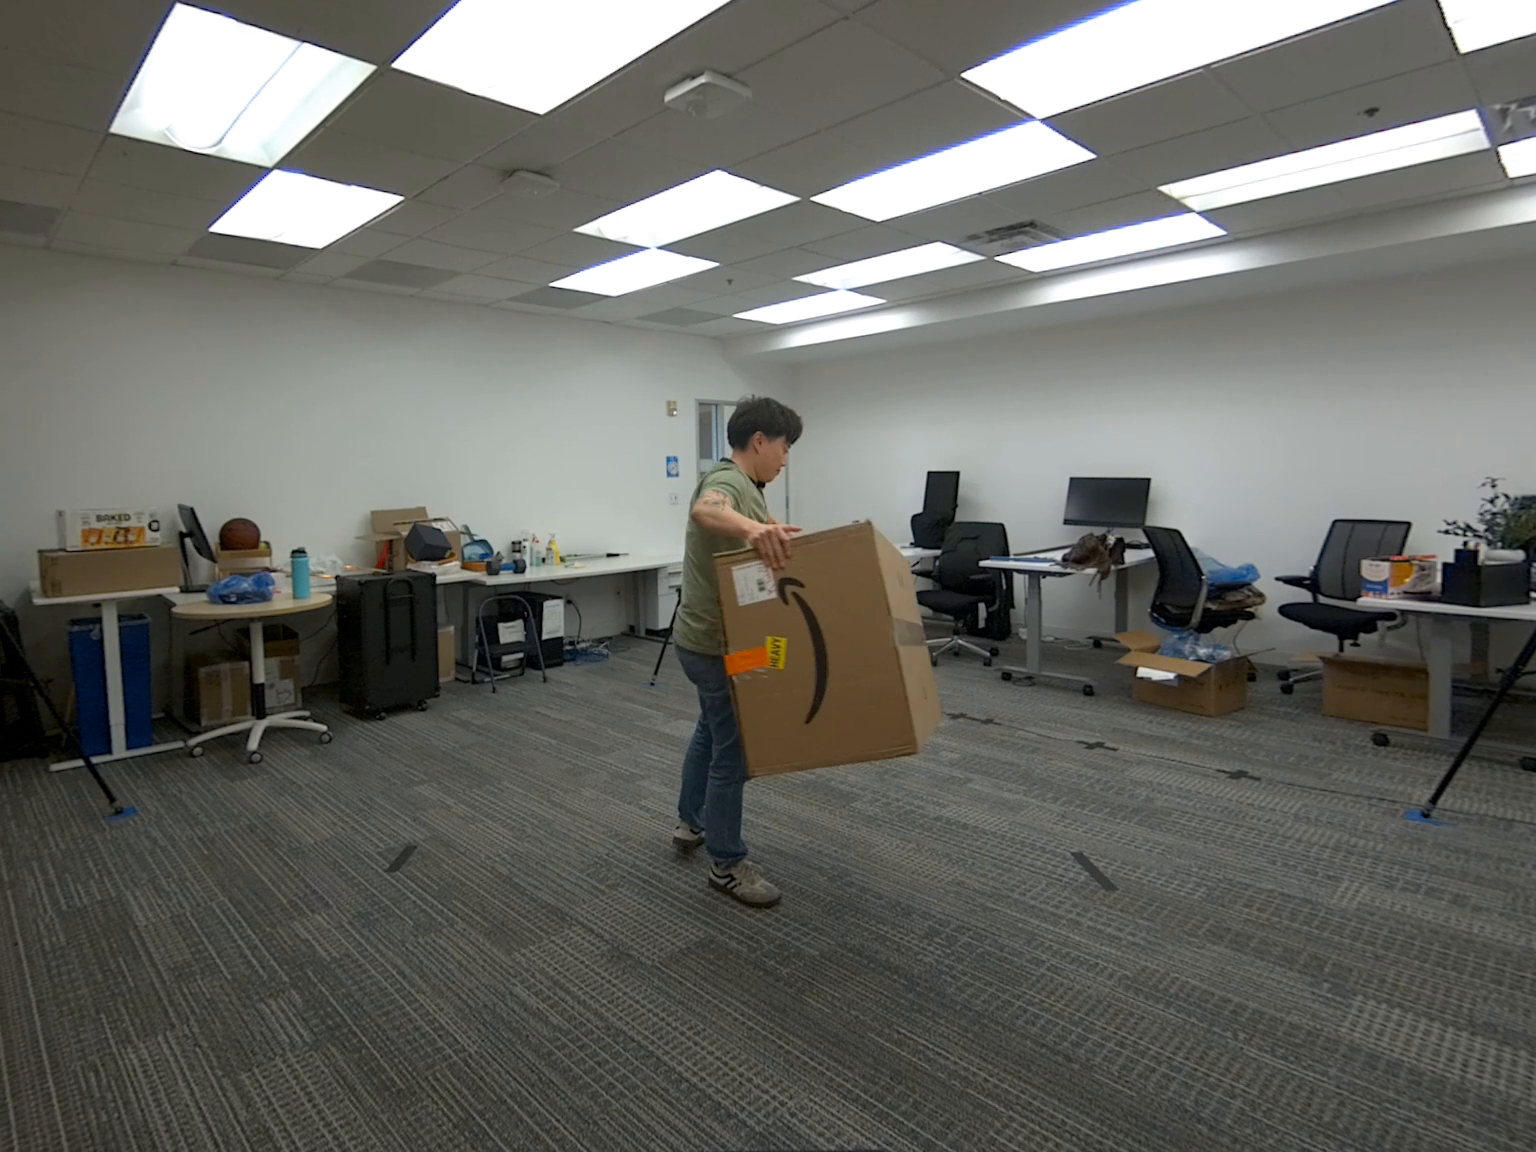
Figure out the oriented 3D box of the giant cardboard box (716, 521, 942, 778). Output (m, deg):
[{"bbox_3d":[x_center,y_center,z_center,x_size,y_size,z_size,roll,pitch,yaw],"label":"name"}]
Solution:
[{"bbox_3d":[0.216,0.215,2.608,0.431,0.583,1.005,-12,-8,13],"label":"giant cardboard box"}]
